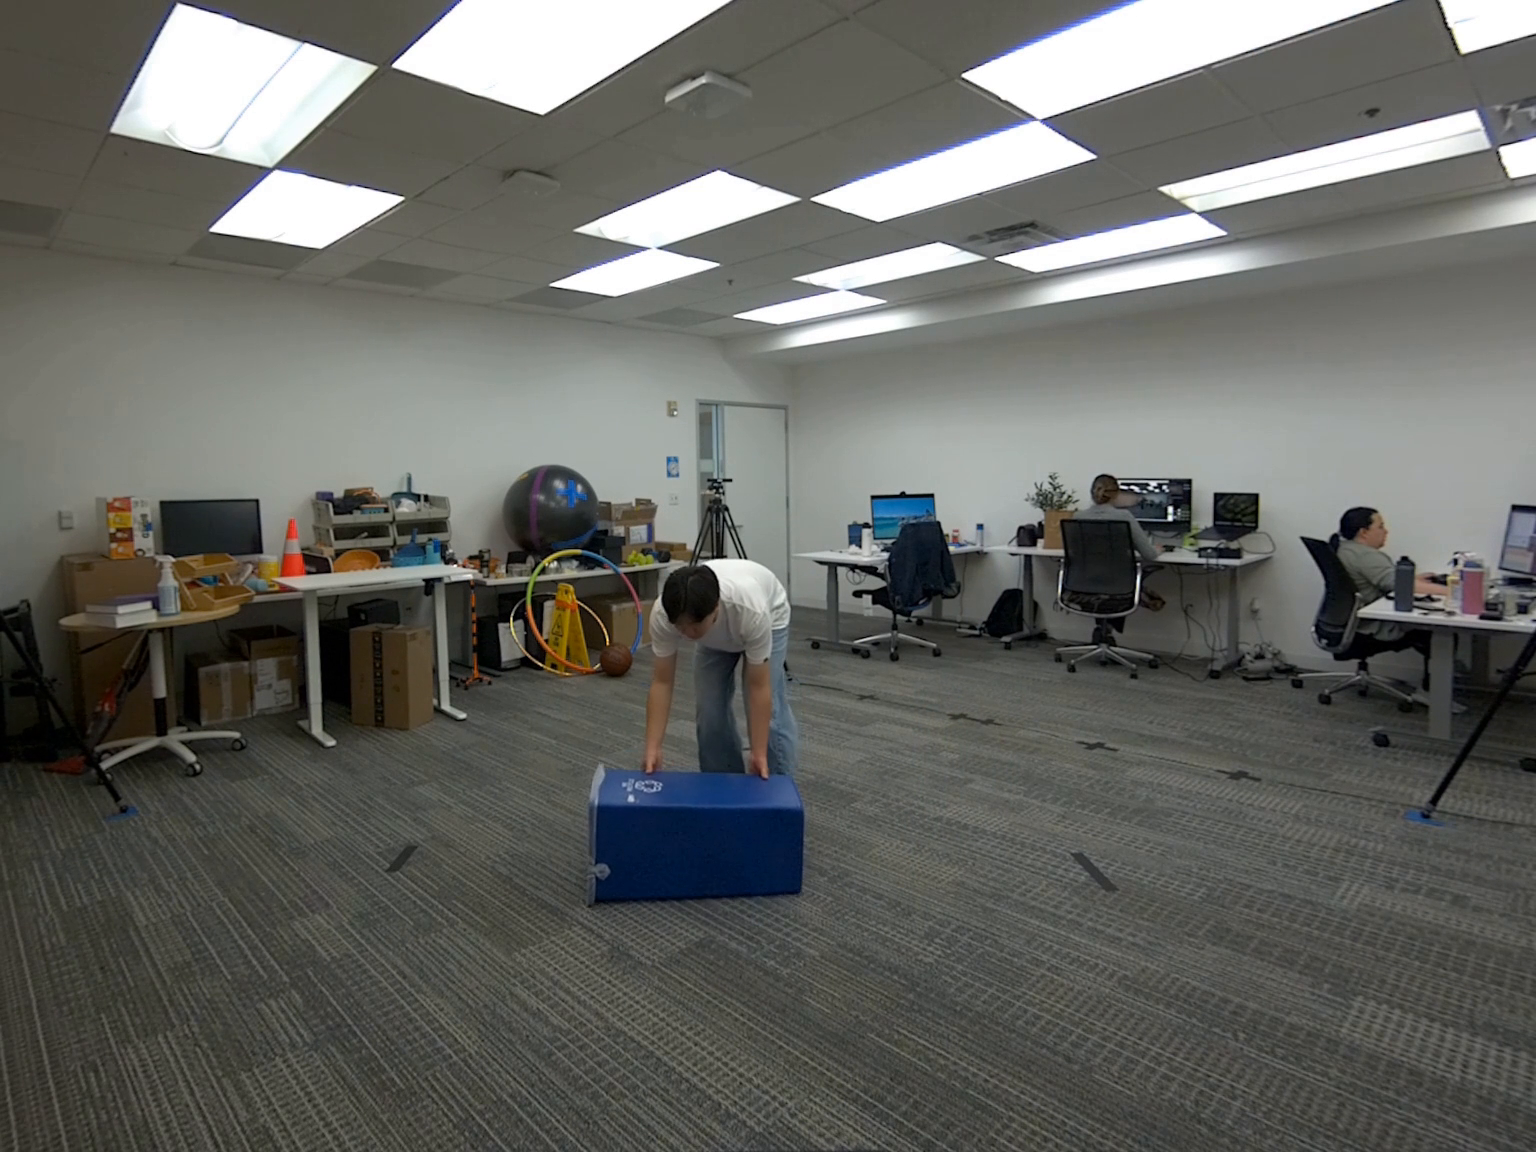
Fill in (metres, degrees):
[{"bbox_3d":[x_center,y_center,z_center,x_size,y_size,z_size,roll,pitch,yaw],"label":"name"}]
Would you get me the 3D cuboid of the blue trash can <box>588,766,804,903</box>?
[{"bbox_3d":[-0.258,0.898,2.985,0.711,0.376,0.377,2,5,-4],"label":"blue trash can"}]
